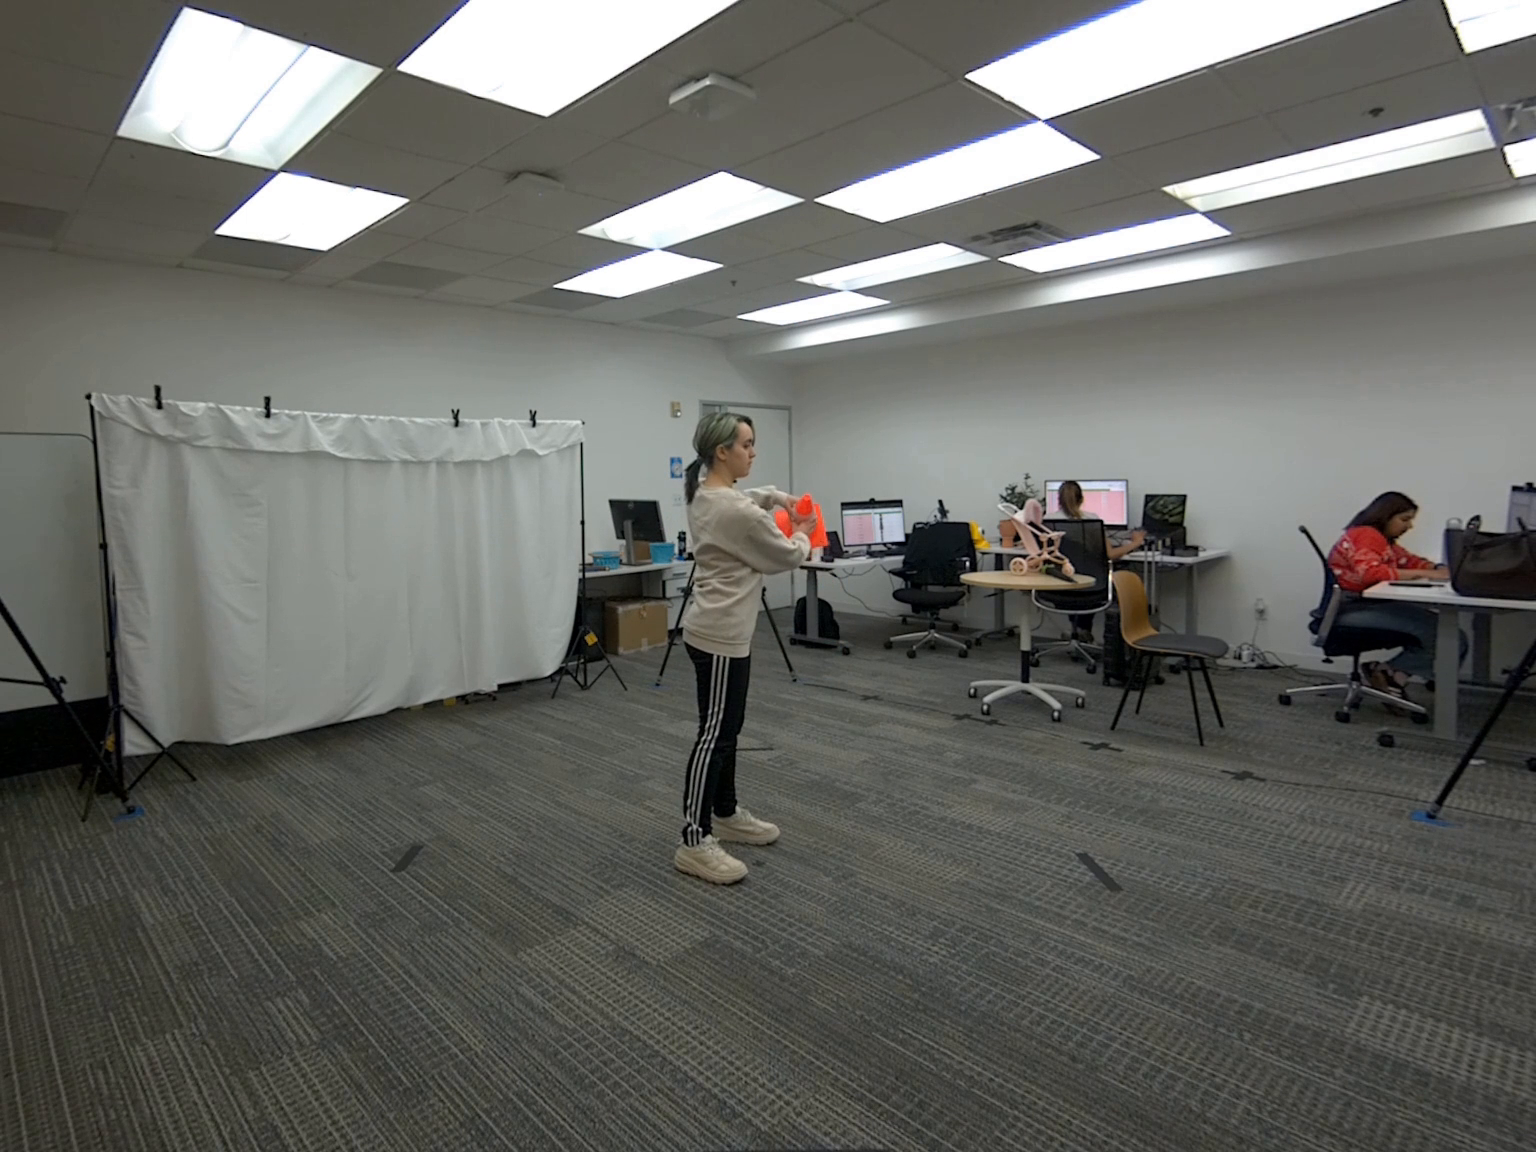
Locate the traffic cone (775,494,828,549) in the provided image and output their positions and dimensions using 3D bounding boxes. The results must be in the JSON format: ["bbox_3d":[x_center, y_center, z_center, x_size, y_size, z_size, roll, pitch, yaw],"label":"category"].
[{"bbox_3d":[0.145,-0.236,3.485,0.203,0.208,0.376,-11,-15,1],"label":"traffic cone"}]
